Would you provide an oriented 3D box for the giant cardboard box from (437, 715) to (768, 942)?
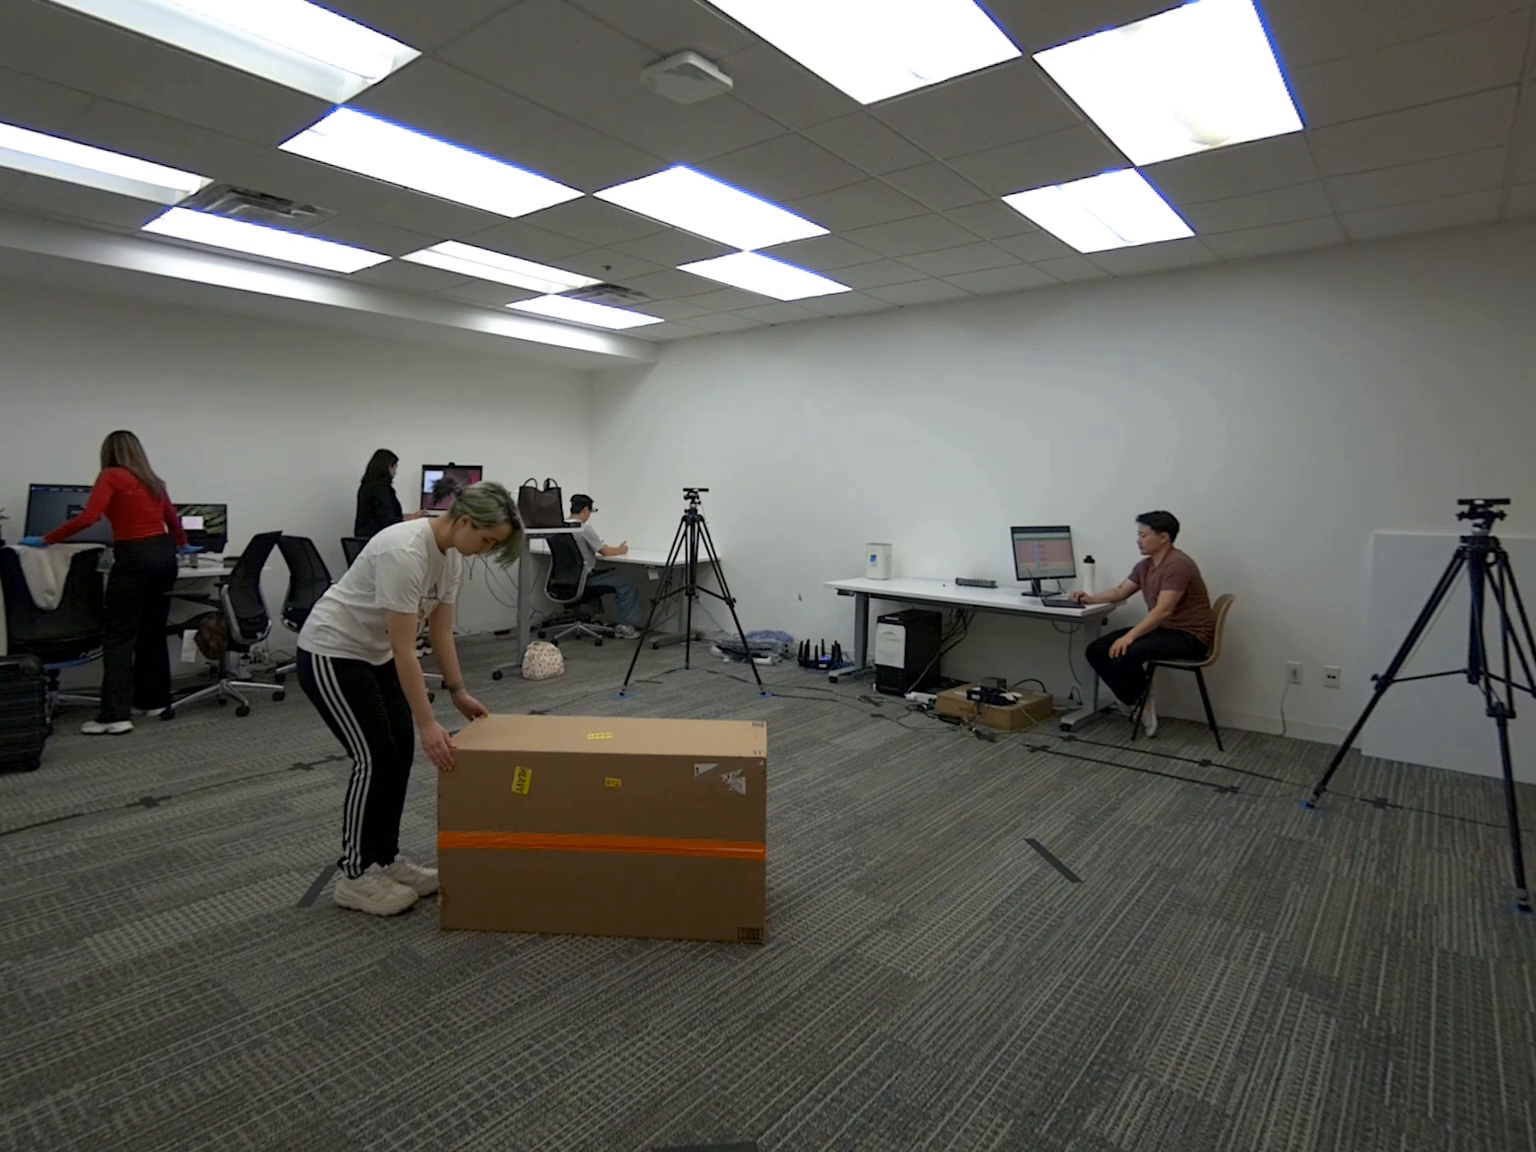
[{"bbox_3d":[-0.525,0.806,2.811,1.030,0.582,0.447,0,4,2],"label":"giant cardboard box"}]
